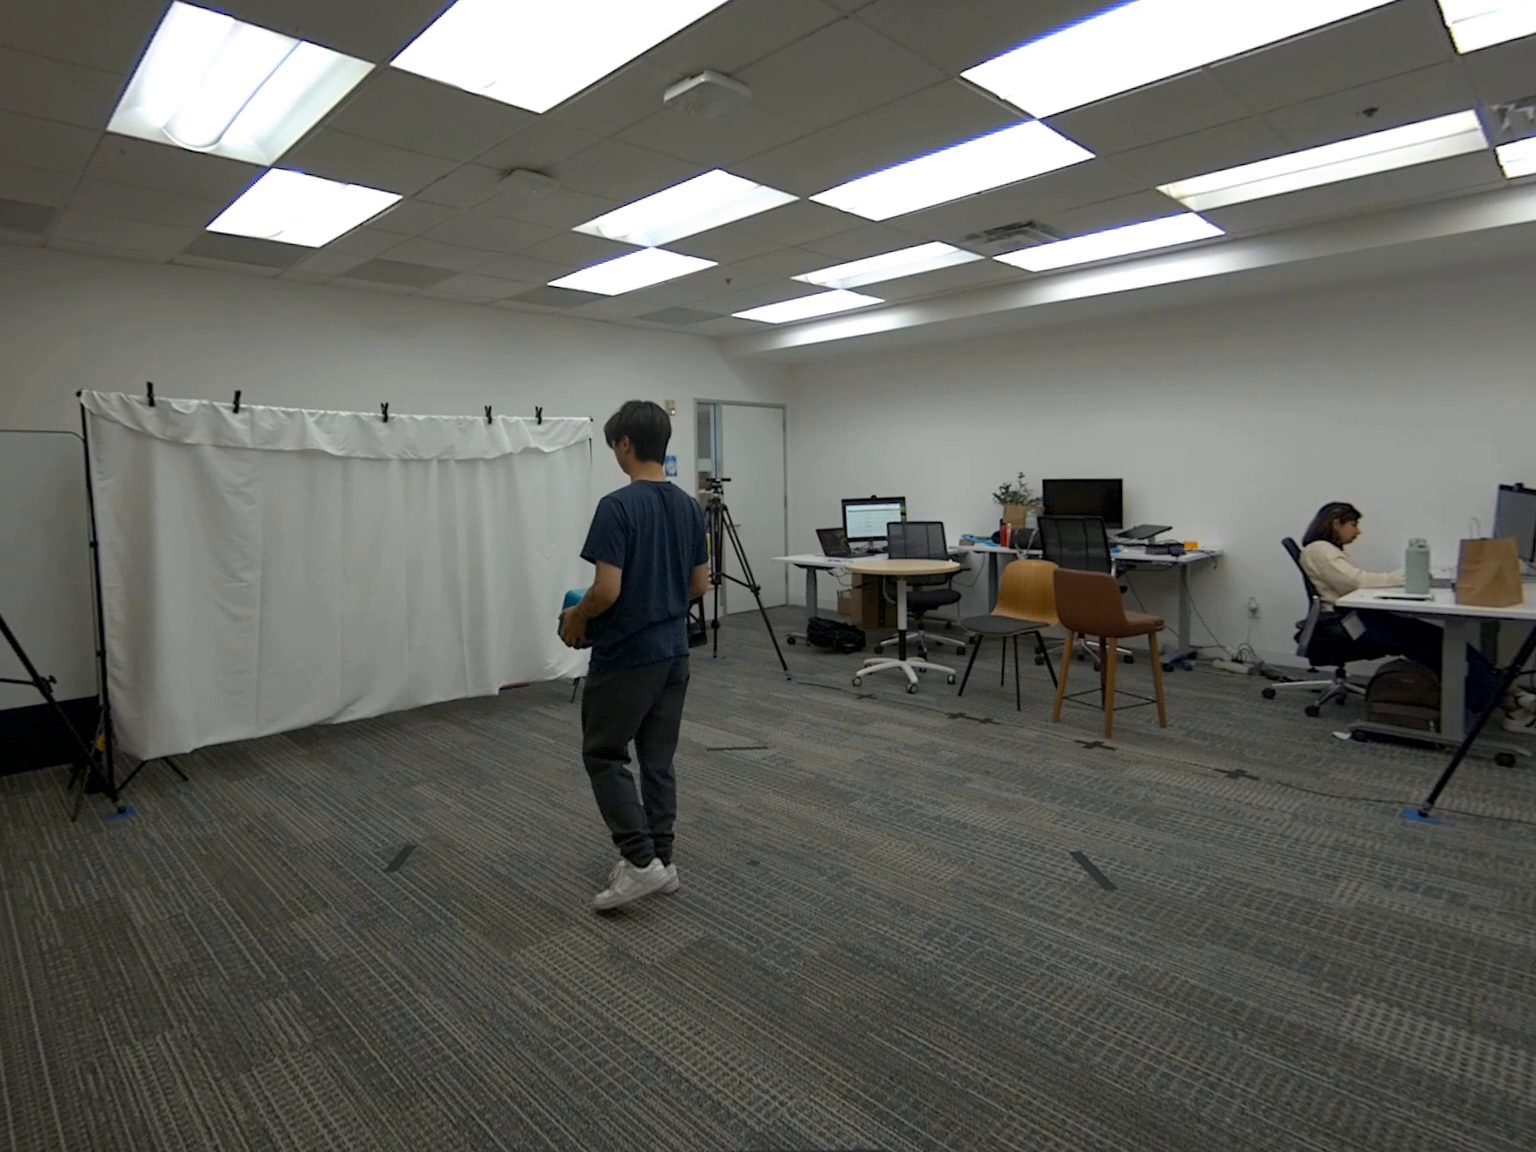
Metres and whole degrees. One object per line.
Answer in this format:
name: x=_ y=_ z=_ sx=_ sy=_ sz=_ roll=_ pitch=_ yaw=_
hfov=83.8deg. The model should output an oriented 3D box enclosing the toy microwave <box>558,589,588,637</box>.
toy microwave: x=-0.601 y=0.138 z=3.069 sx=0.157 sy=0.182 sz=0.279 roll=21 pitch=16 yaw=30
